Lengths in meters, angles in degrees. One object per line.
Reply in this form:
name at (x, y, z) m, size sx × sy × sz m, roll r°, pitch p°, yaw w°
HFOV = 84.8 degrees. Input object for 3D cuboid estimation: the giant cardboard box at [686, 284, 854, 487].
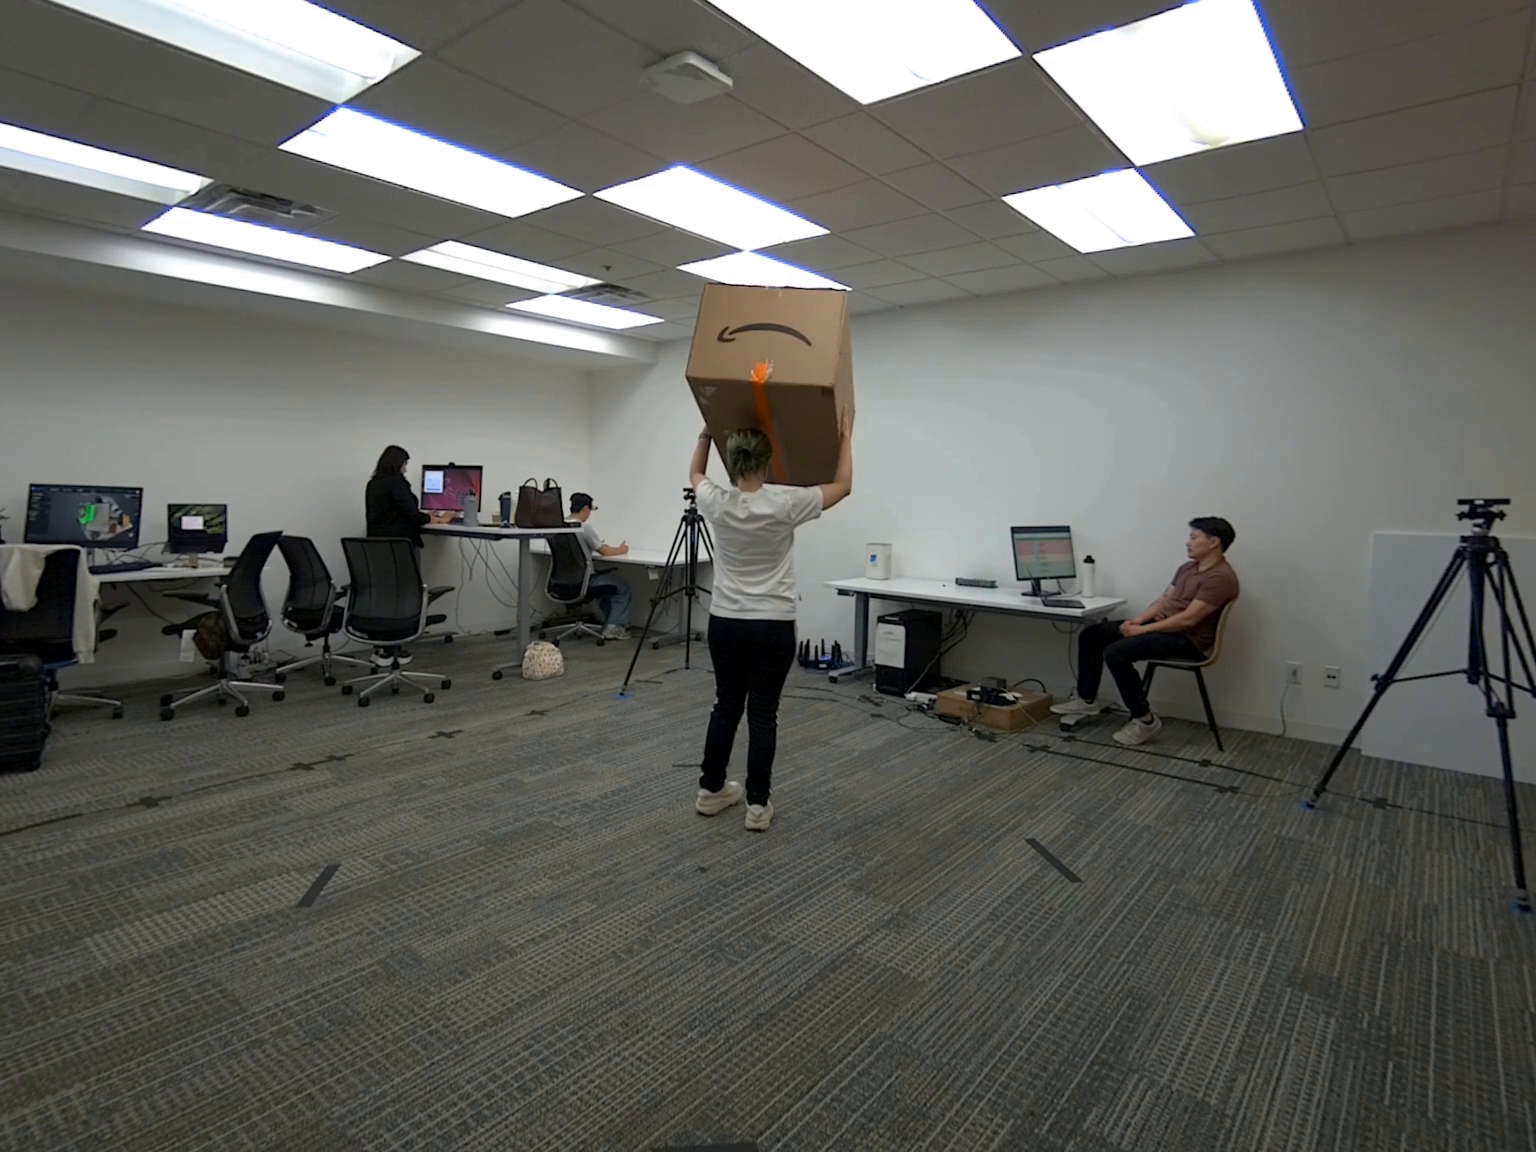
giant cardboard box at (0.037, -0.792, 3.728) m, size 0.592 × 0.452 × 1.000 m, roll 7°, pitch -16°, yaw 10°
